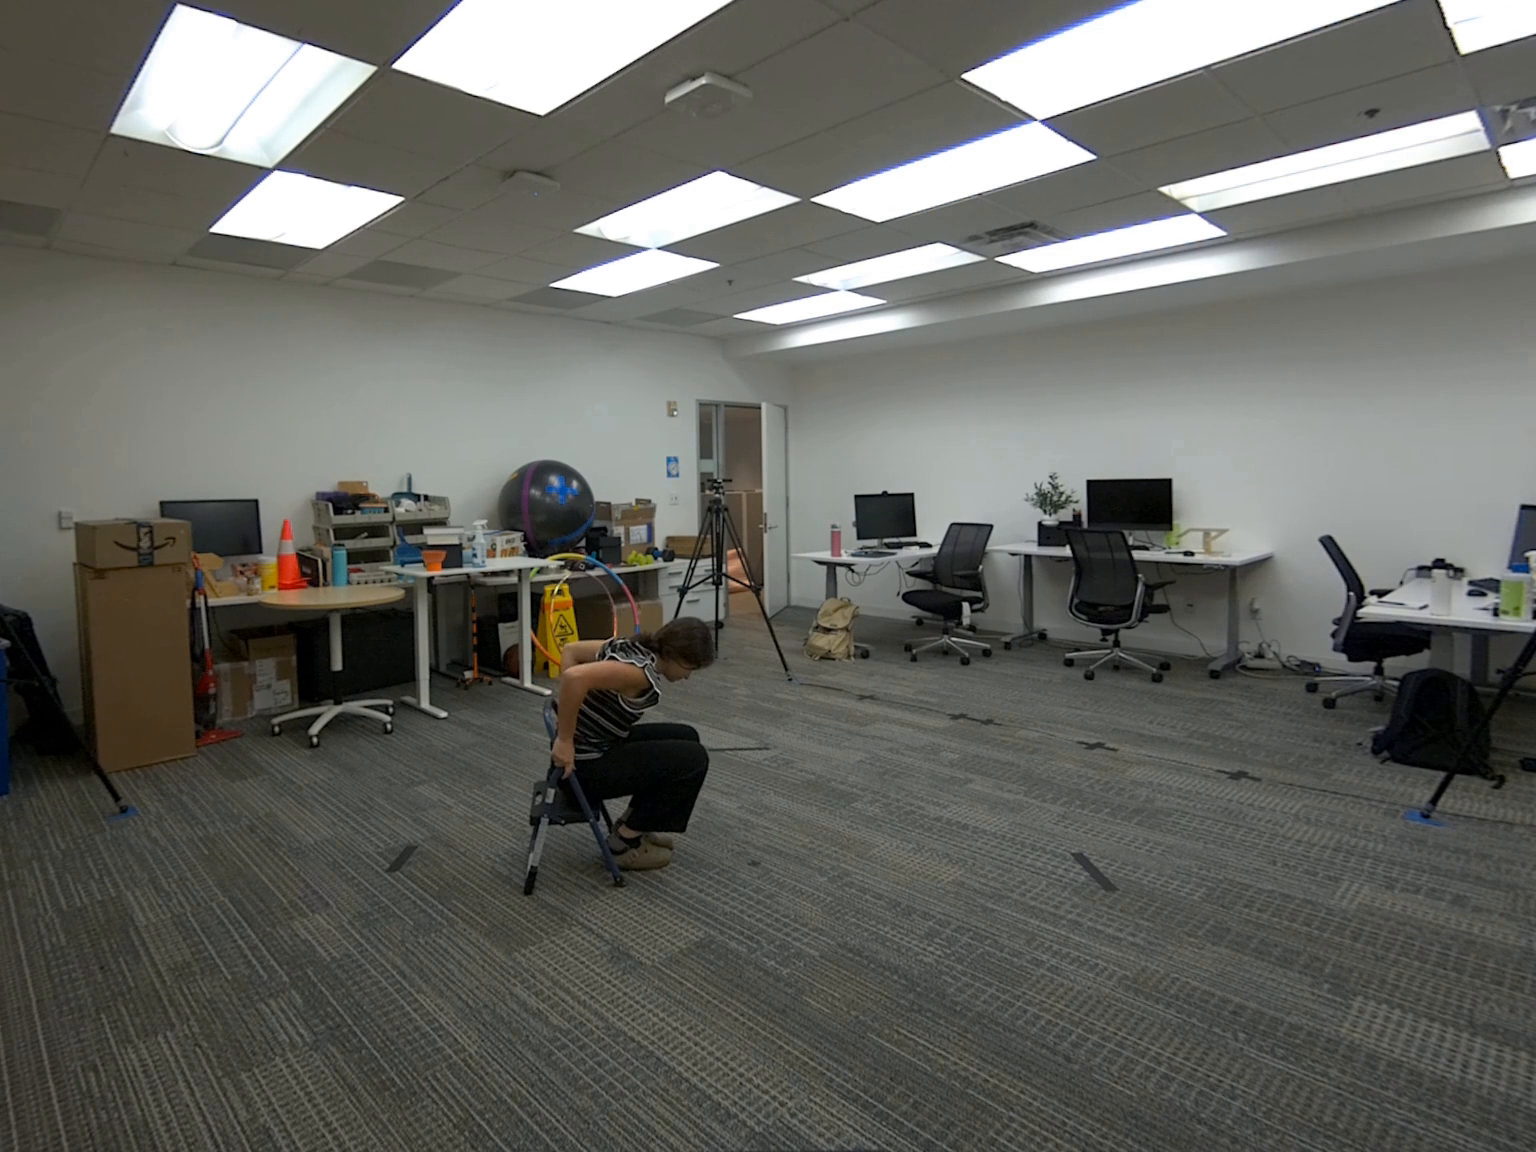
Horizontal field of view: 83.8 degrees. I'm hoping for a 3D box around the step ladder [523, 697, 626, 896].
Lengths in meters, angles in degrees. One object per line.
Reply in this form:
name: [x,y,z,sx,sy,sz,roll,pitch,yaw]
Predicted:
step ladder: [-0.709,0.759,3.107,0.346,0.604,0.437,-1,4,-12]
